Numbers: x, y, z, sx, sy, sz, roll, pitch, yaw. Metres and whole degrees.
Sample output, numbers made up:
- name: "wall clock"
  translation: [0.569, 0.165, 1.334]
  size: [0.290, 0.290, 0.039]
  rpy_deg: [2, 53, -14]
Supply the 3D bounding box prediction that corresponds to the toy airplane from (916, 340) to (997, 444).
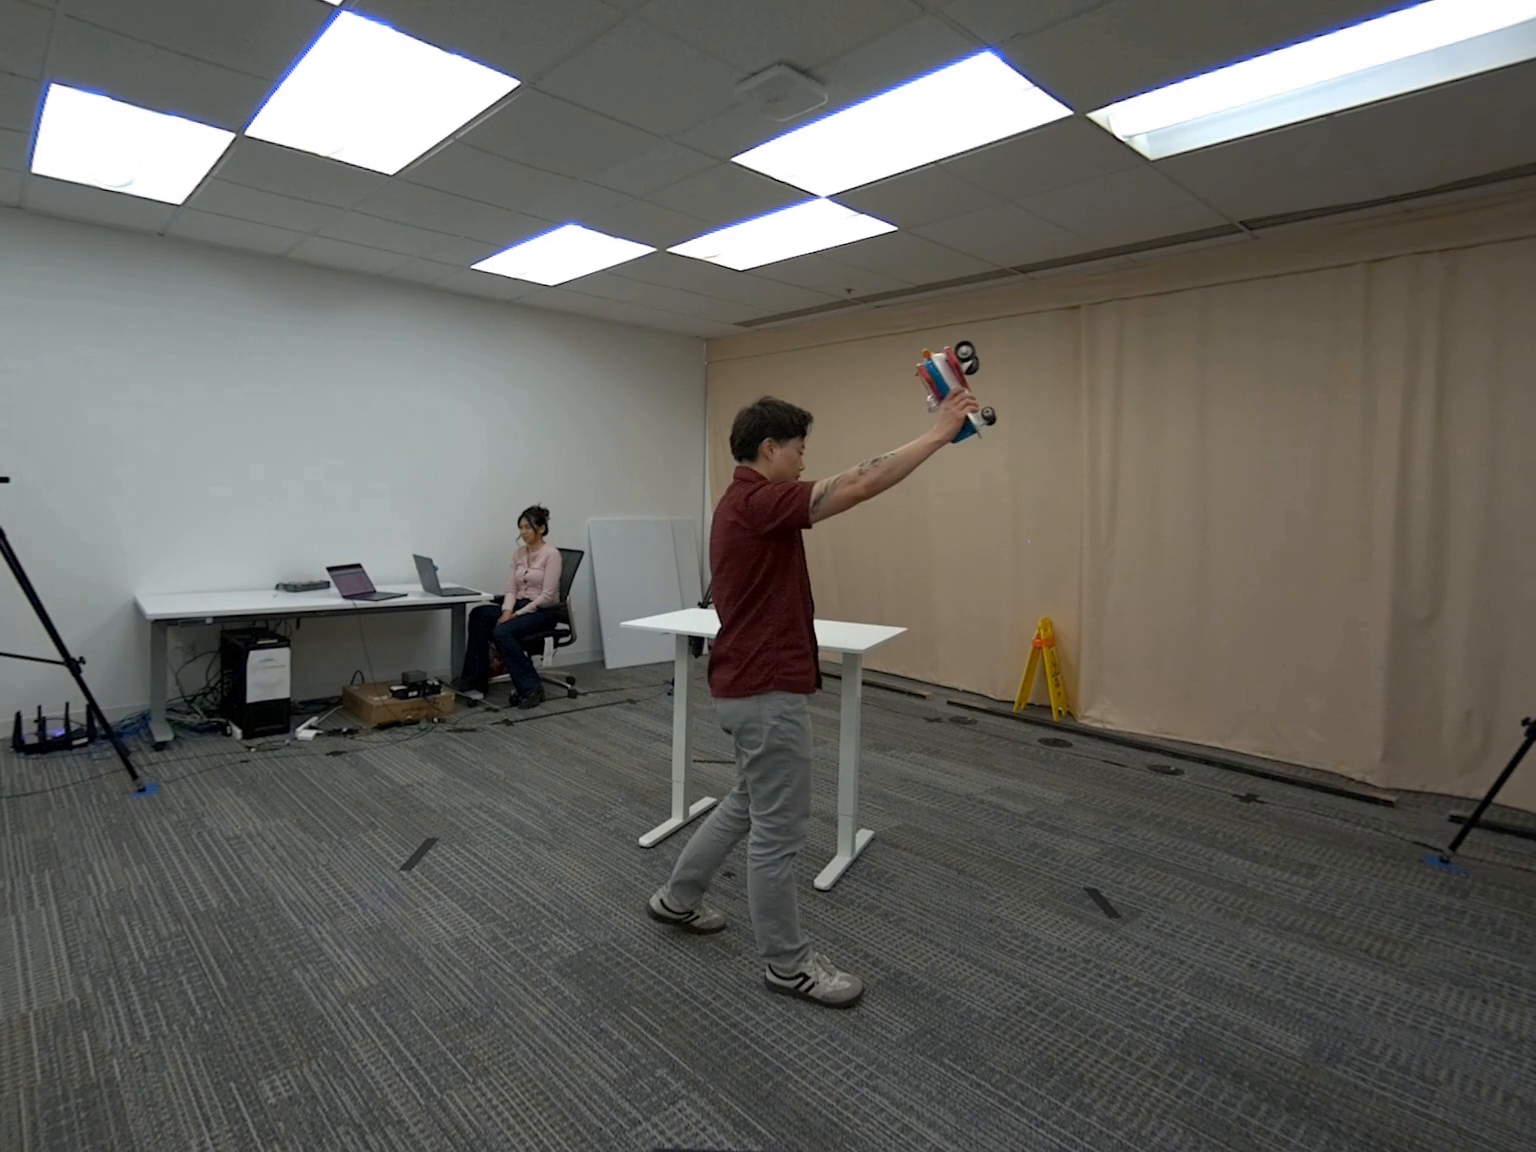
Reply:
- name: "toy airplane"
  translation: [0.484, -0.487, 2.204]
  size: [0.158, 0.265, 0.243]
  rpy_deg: [-16, -45, 18]
